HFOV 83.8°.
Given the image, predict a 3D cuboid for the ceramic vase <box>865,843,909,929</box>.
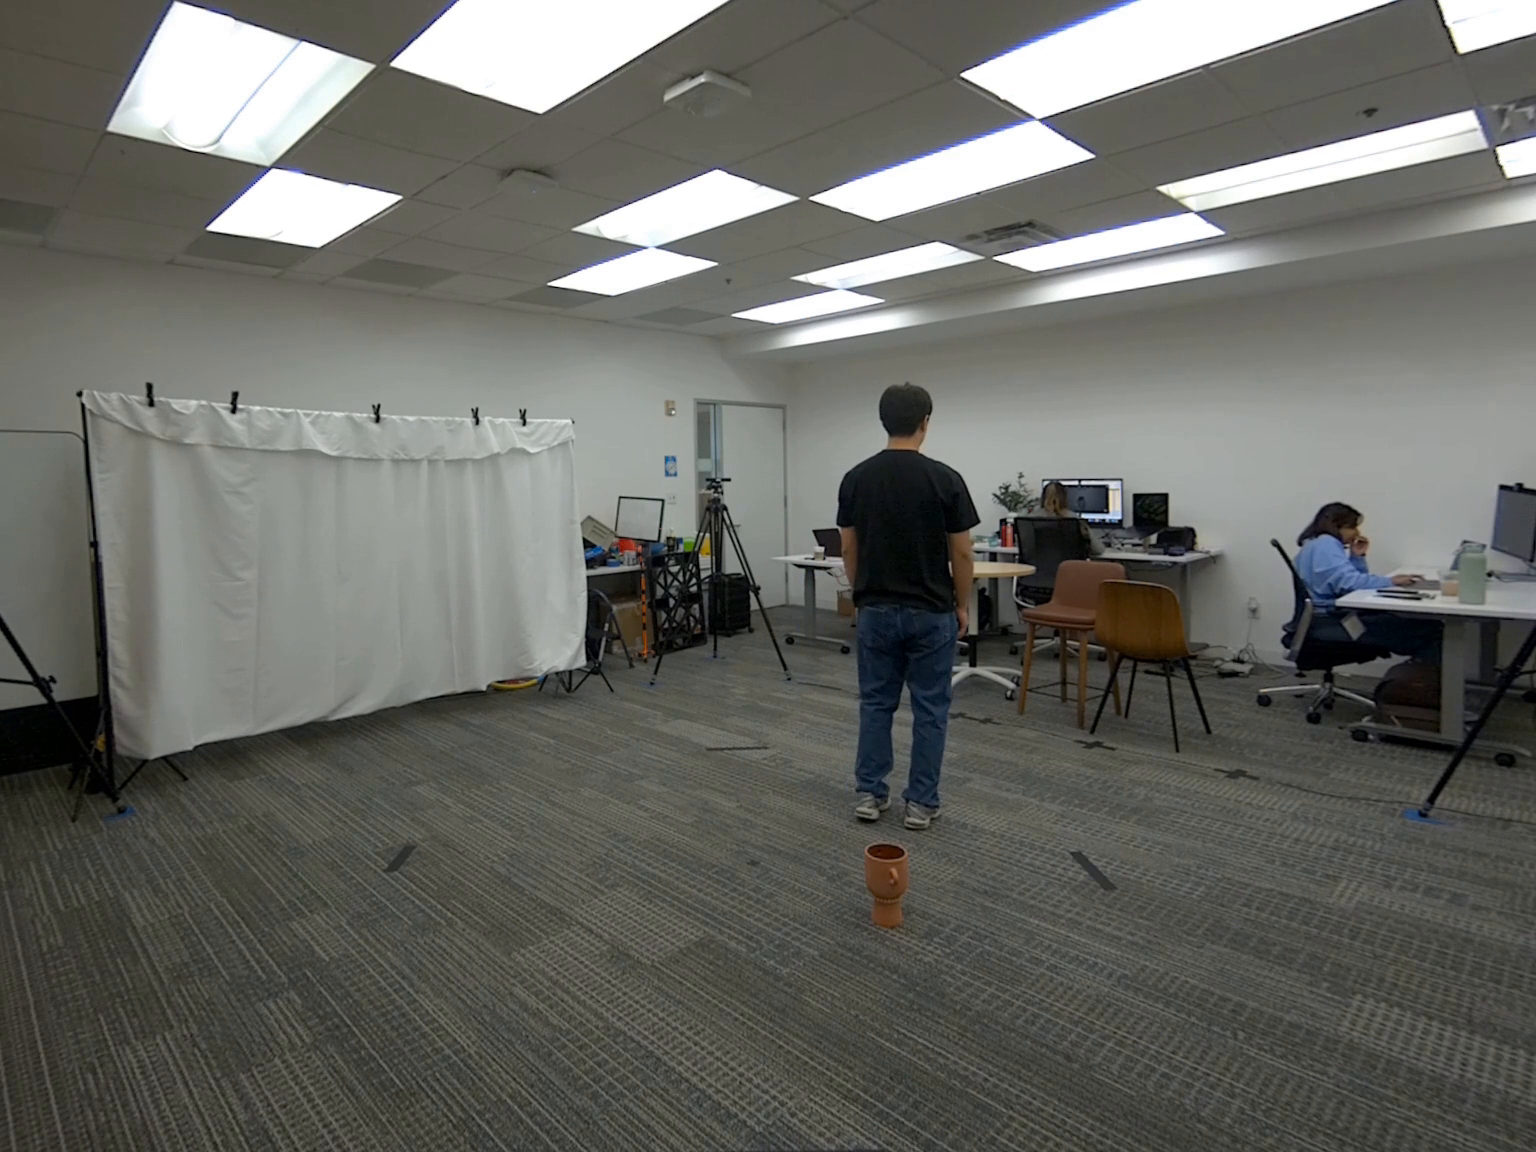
[{"bbox_3d":[0.381,0.969,2.683,0.138,0.219,0.155,-1,3,31],"label":"ceramic vase"}]
